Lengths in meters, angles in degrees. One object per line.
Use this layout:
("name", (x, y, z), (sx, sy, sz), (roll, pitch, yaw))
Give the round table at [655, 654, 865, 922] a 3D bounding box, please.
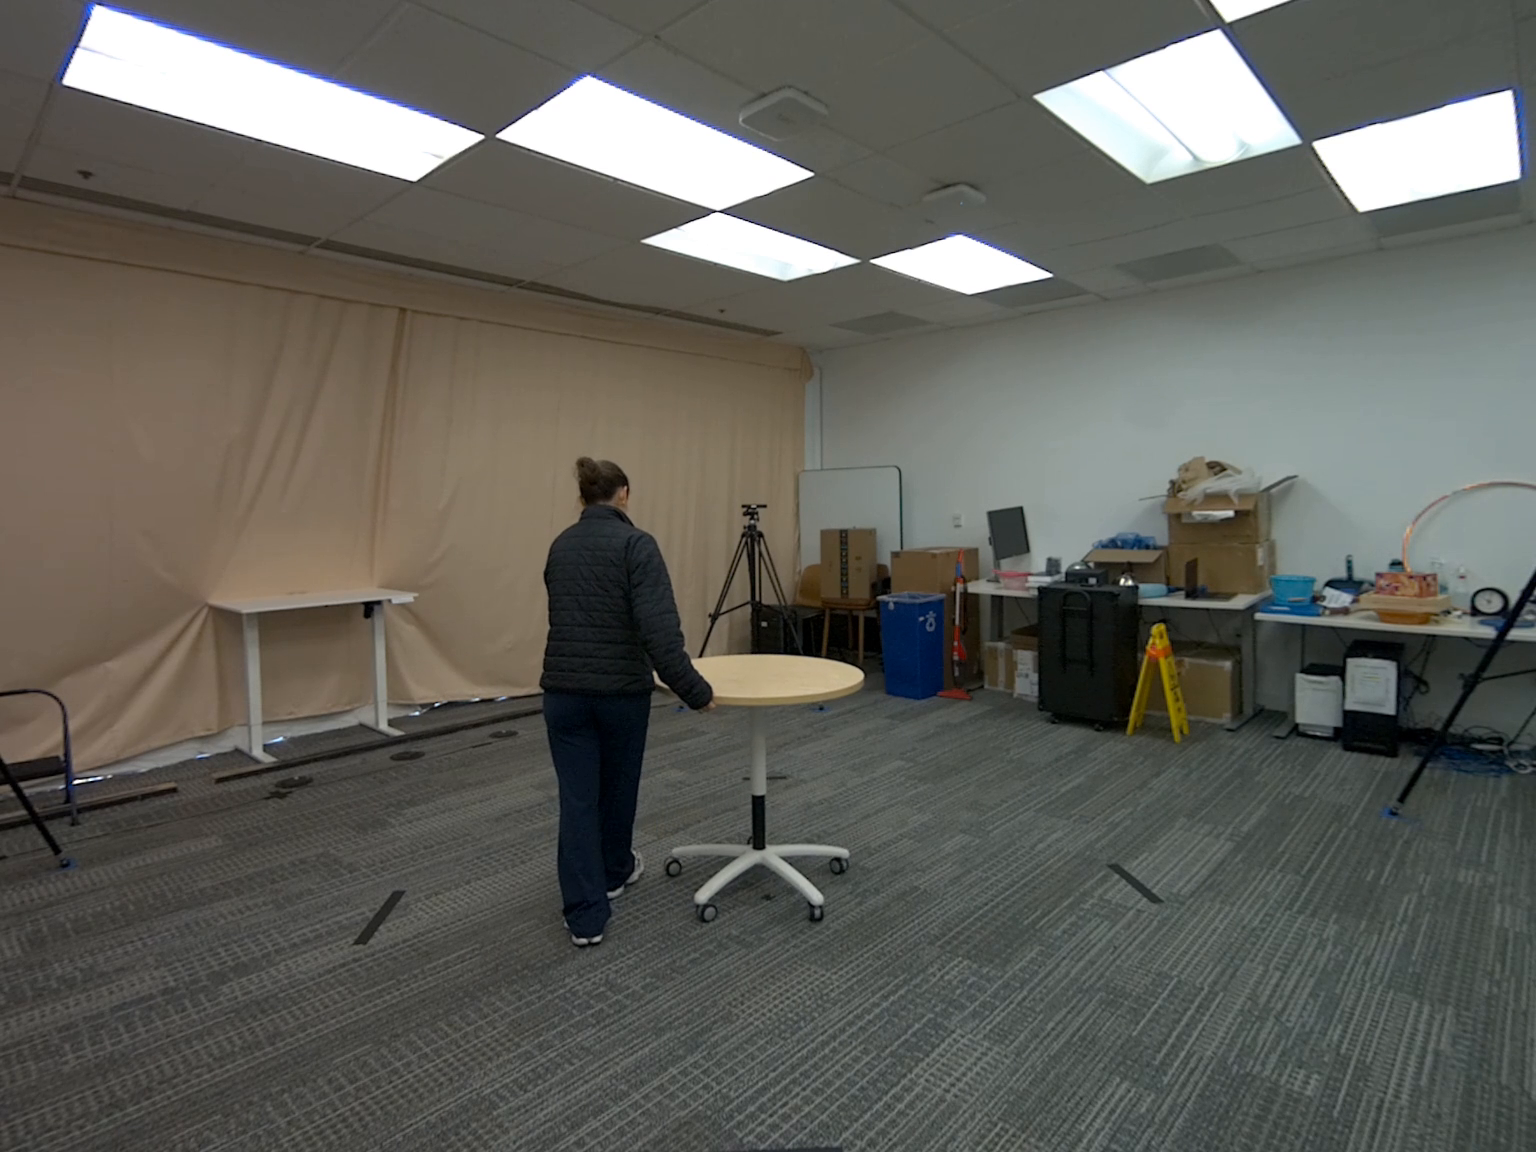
("round table", (-0.005, 0.738, 3.060), (0.784, 0.784, 0.788), (-1, 4, -2))
